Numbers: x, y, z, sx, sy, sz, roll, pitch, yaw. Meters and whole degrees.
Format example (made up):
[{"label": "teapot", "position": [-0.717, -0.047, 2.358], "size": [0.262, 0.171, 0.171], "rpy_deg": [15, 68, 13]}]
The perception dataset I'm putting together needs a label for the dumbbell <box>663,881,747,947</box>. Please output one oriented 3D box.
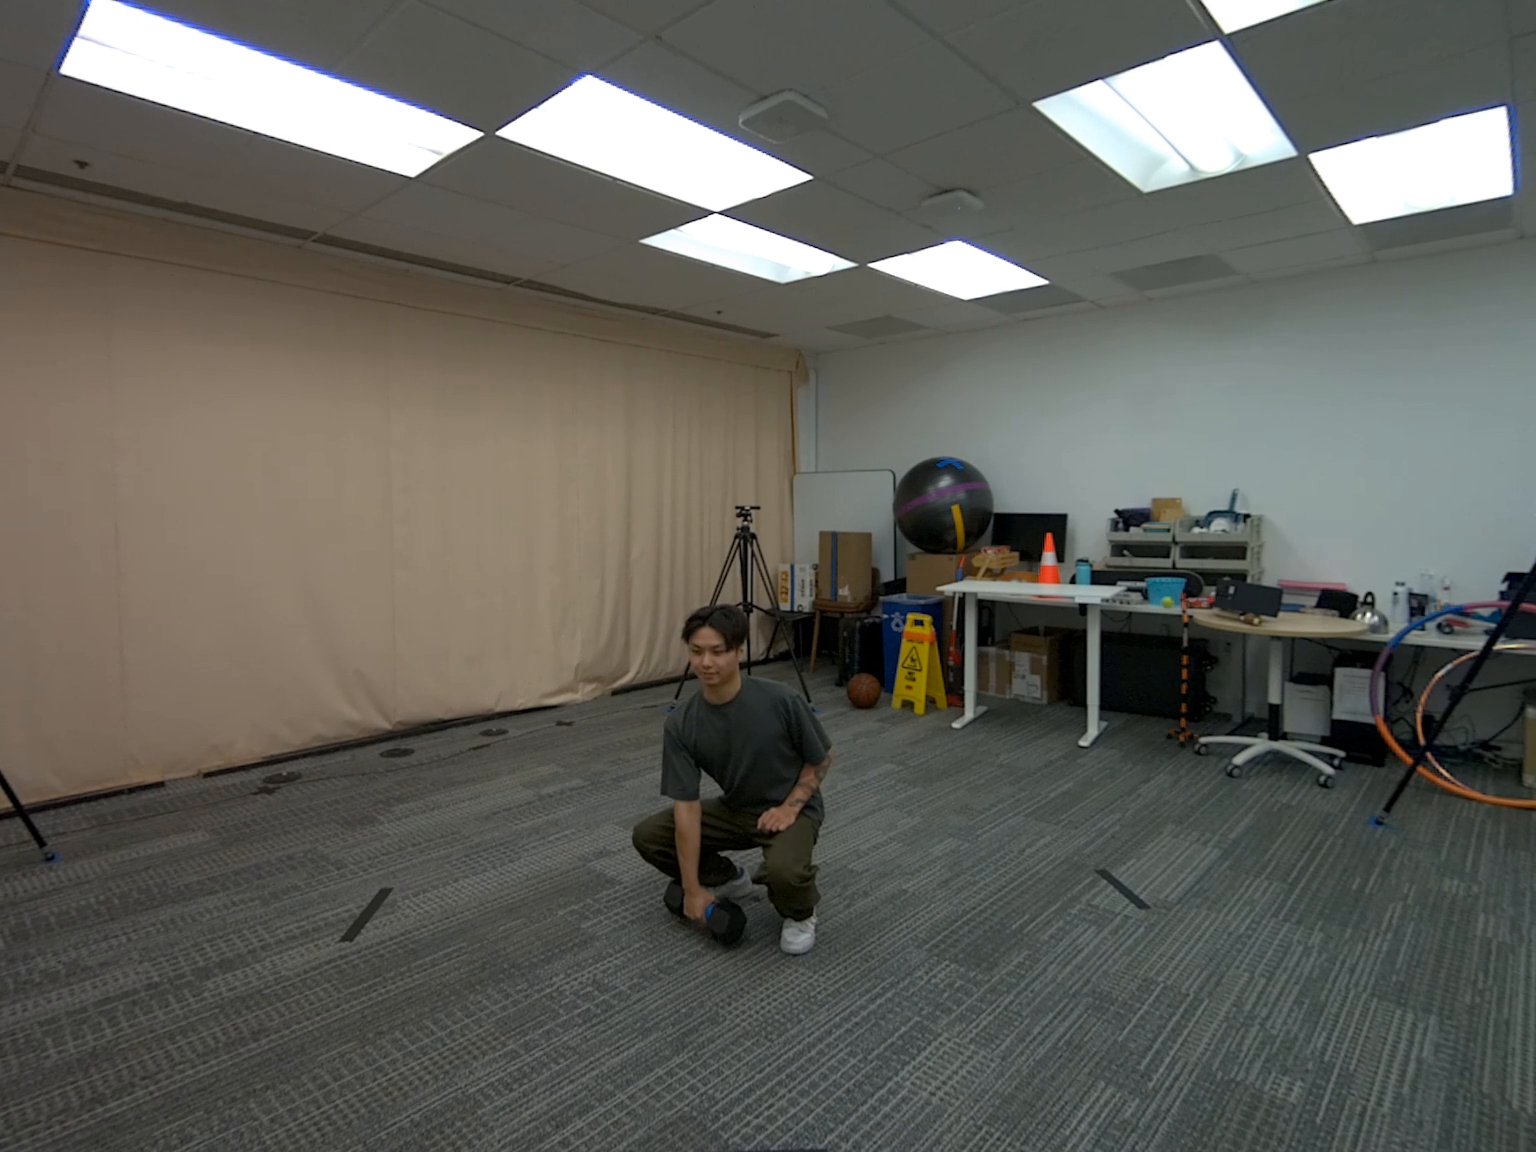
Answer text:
[{"label": "dumbbell", "position": [-0.202, 1.073, 2.733], "size": [0.303, 0.120, 0.107], "rpy_deg": [6, 37, 45]}]
